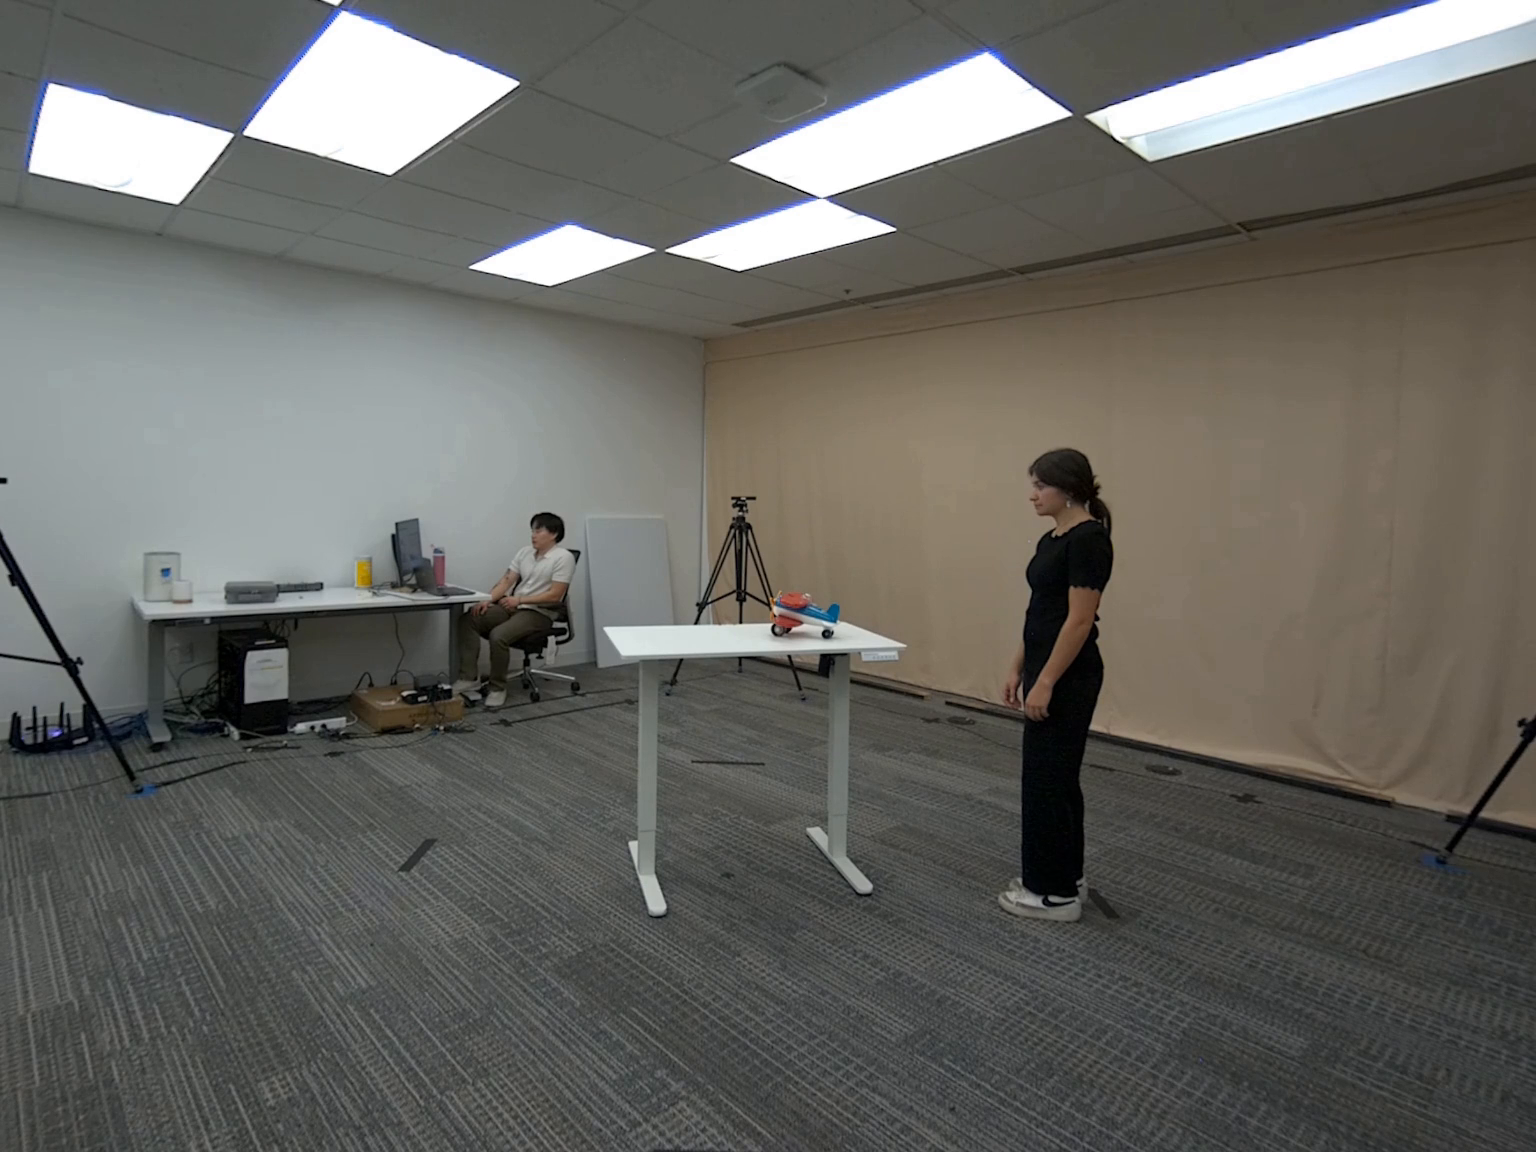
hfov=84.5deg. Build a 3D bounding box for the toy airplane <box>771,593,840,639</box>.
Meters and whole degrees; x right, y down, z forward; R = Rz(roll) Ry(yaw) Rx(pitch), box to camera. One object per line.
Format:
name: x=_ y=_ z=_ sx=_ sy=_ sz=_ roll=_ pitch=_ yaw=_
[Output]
toy airplane: x=0.133 y=0.146 z=3.151 sx=0.257 sy=0.156 sz=0.254 roll=-1 pitch=6 yaw=-10
